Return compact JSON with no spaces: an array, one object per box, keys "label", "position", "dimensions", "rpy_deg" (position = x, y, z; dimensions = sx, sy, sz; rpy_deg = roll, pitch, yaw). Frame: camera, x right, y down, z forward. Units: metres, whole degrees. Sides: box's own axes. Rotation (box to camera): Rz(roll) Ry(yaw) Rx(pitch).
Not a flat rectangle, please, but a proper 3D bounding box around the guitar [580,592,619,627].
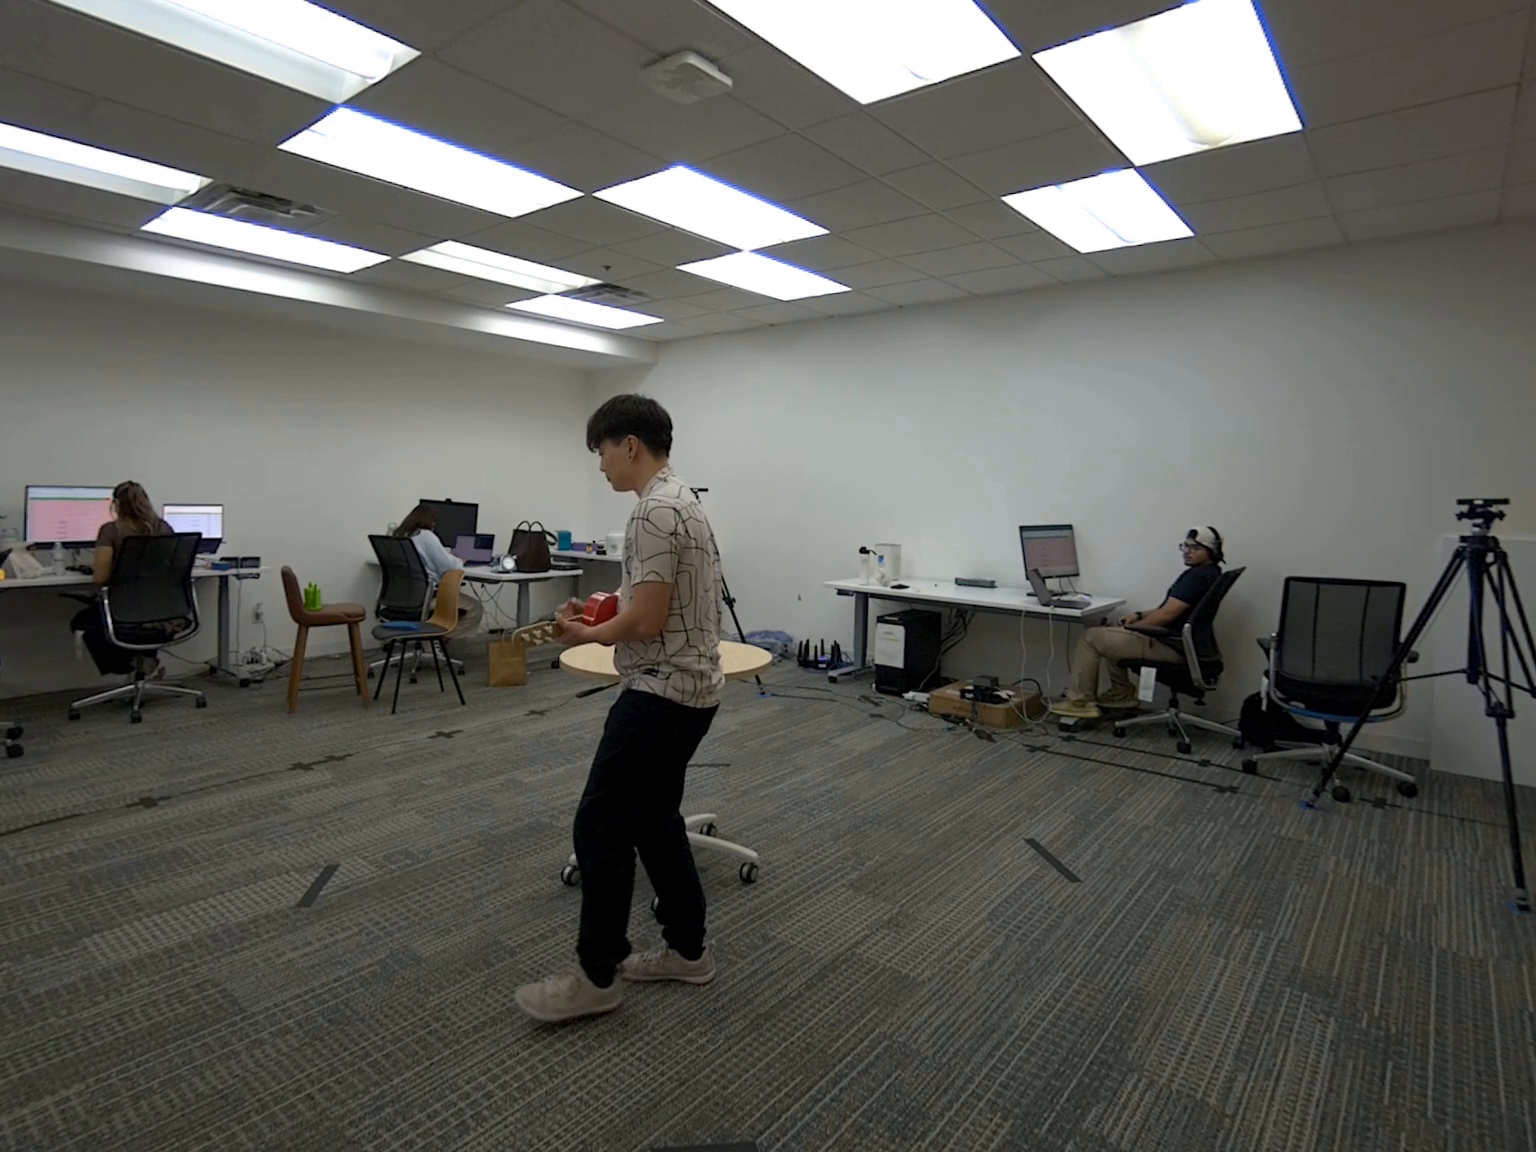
[{"label":"guitar","position":[-0.503,0.156,2.410],"dimensions":[0.073,0.189,0.489],"rpy_deg":[12,27,42]}]
